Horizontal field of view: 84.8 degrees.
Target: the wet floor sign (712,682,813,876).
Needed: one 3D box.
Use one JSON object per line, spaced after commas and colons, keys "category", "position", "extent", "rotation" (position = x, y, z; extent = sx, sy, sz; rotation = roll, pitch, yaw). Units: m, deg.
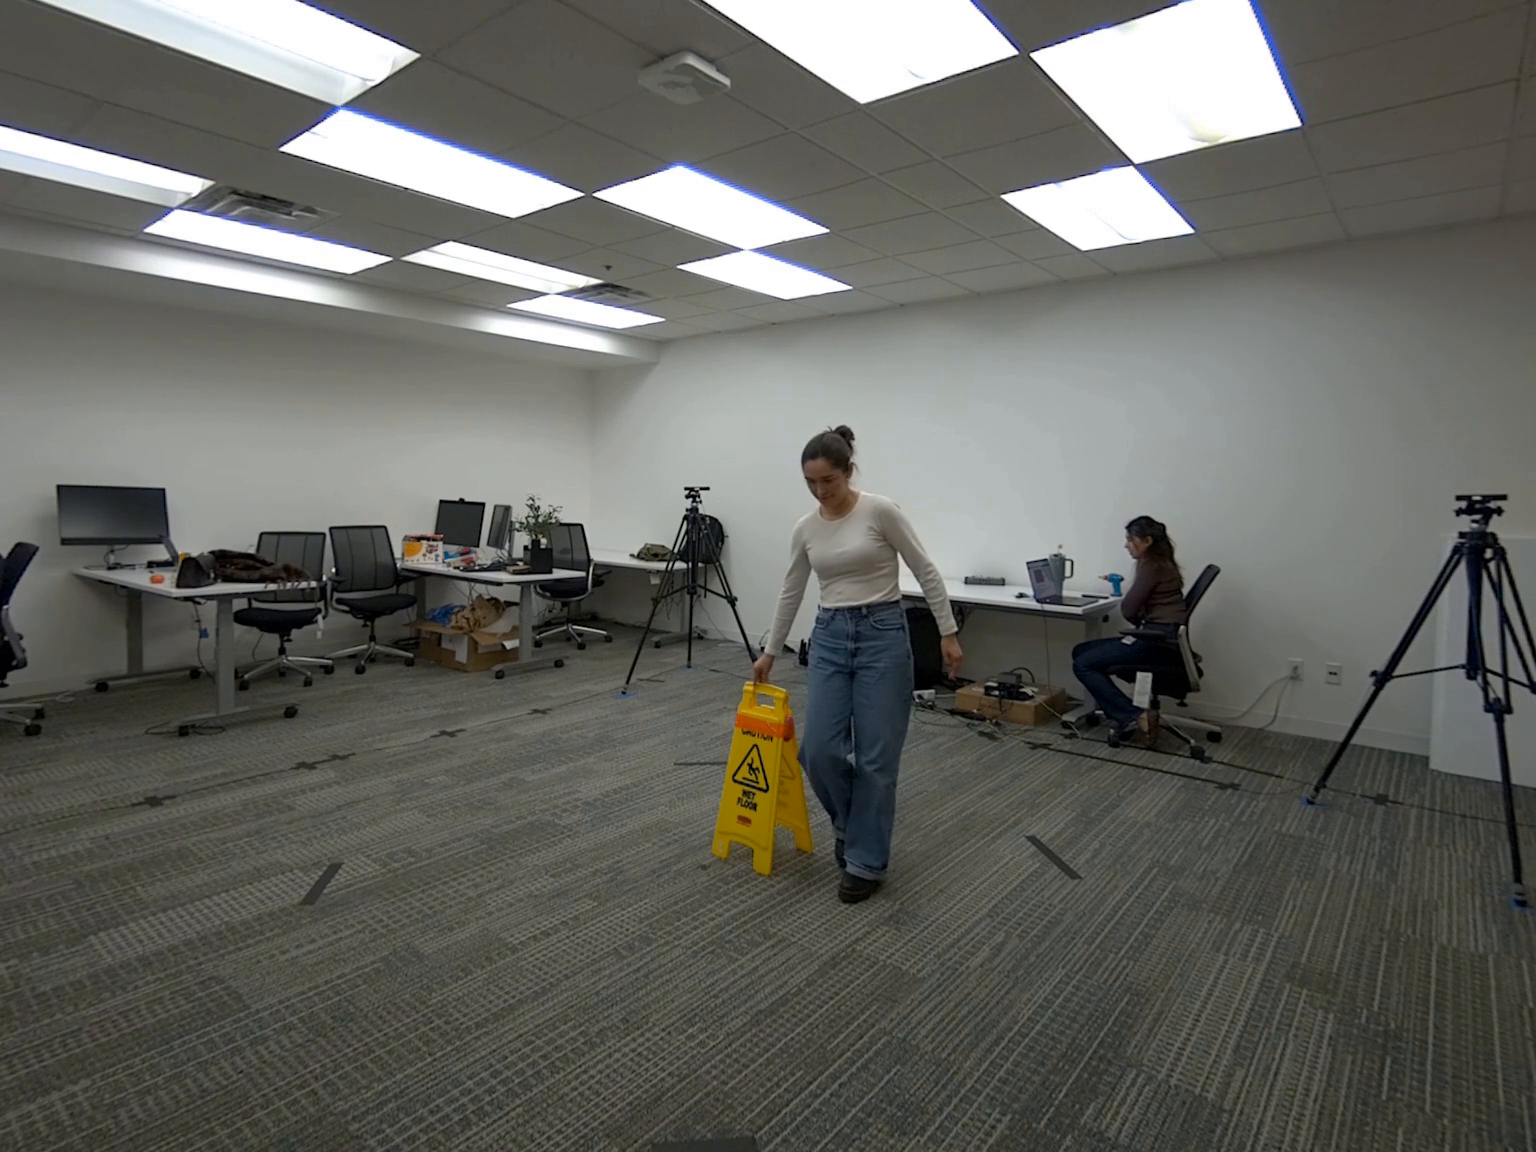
{"category": "wet floor sign", "position": [-0.022, 0.731, 3.235], "extent": [0.292, 0.644, 0.281], "rotation": [4, 4, 39]}
